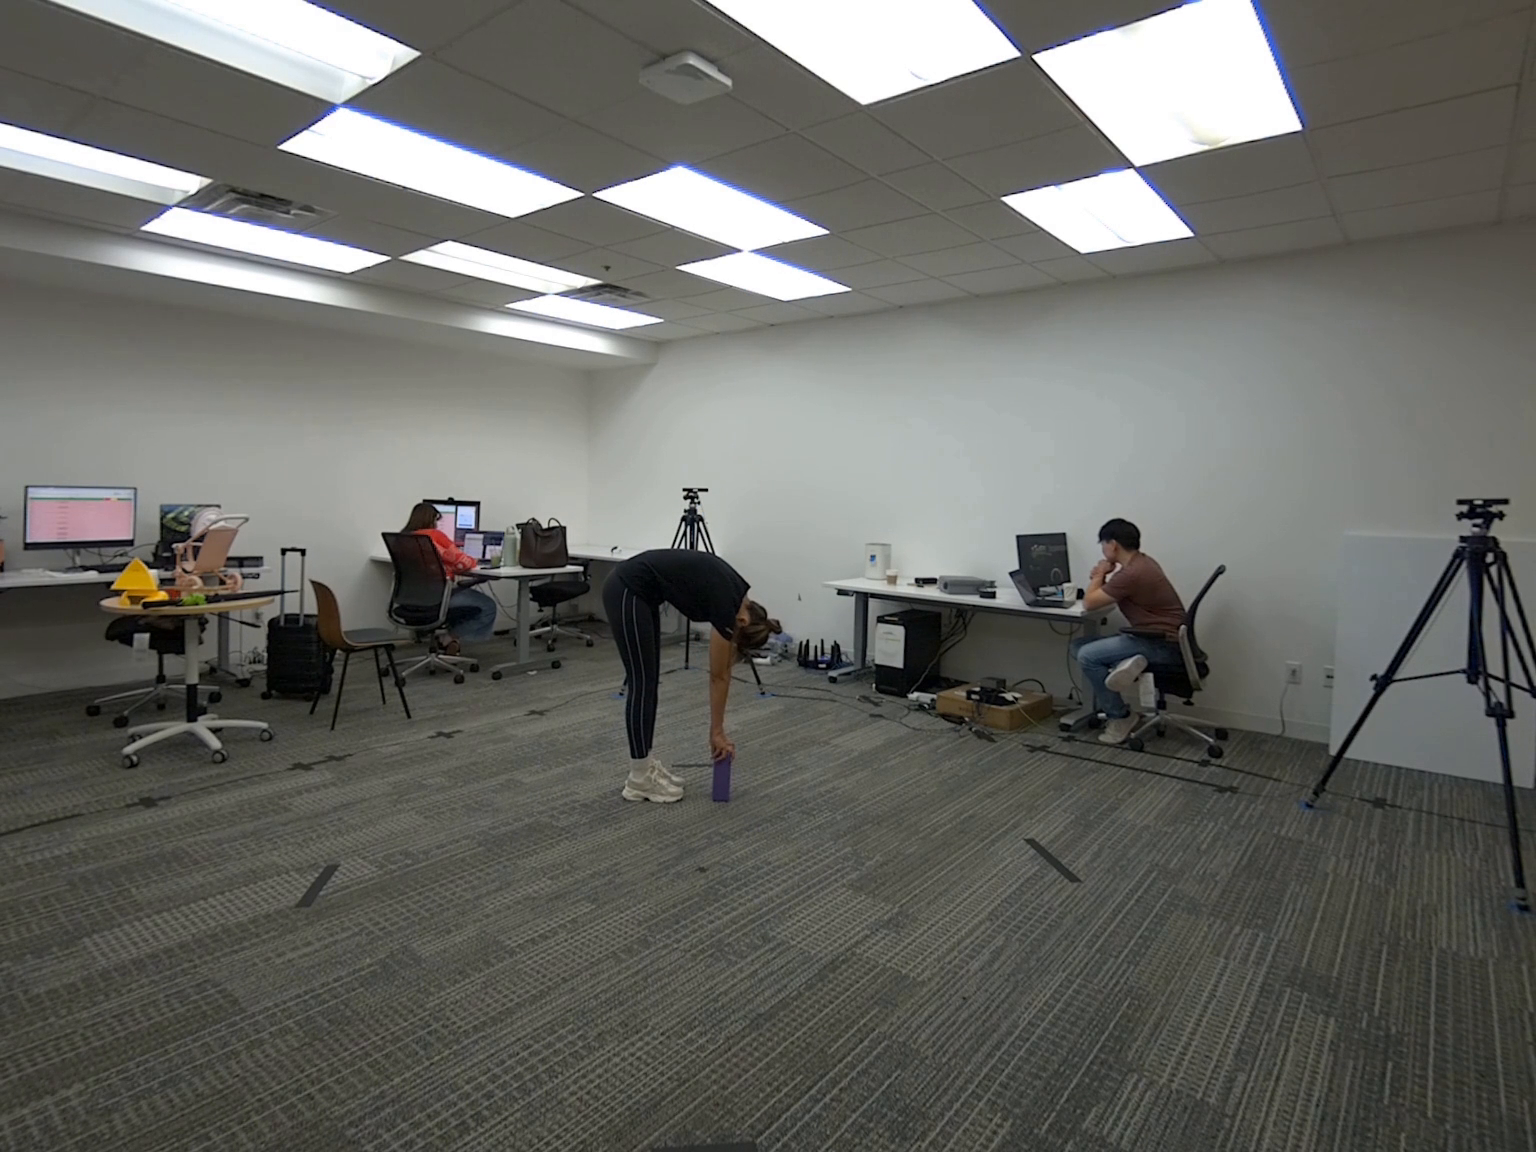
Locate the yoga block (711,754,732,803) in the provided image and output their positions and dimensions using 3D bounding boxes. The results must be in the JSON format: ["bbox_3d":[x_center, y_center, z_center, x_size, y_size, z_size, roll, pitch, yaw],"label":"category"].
[{"bbox_3d":[-0.217,0.891,3.857,0.076,0.228,0.150,0,5,-4],"label":"yoga block"}]
